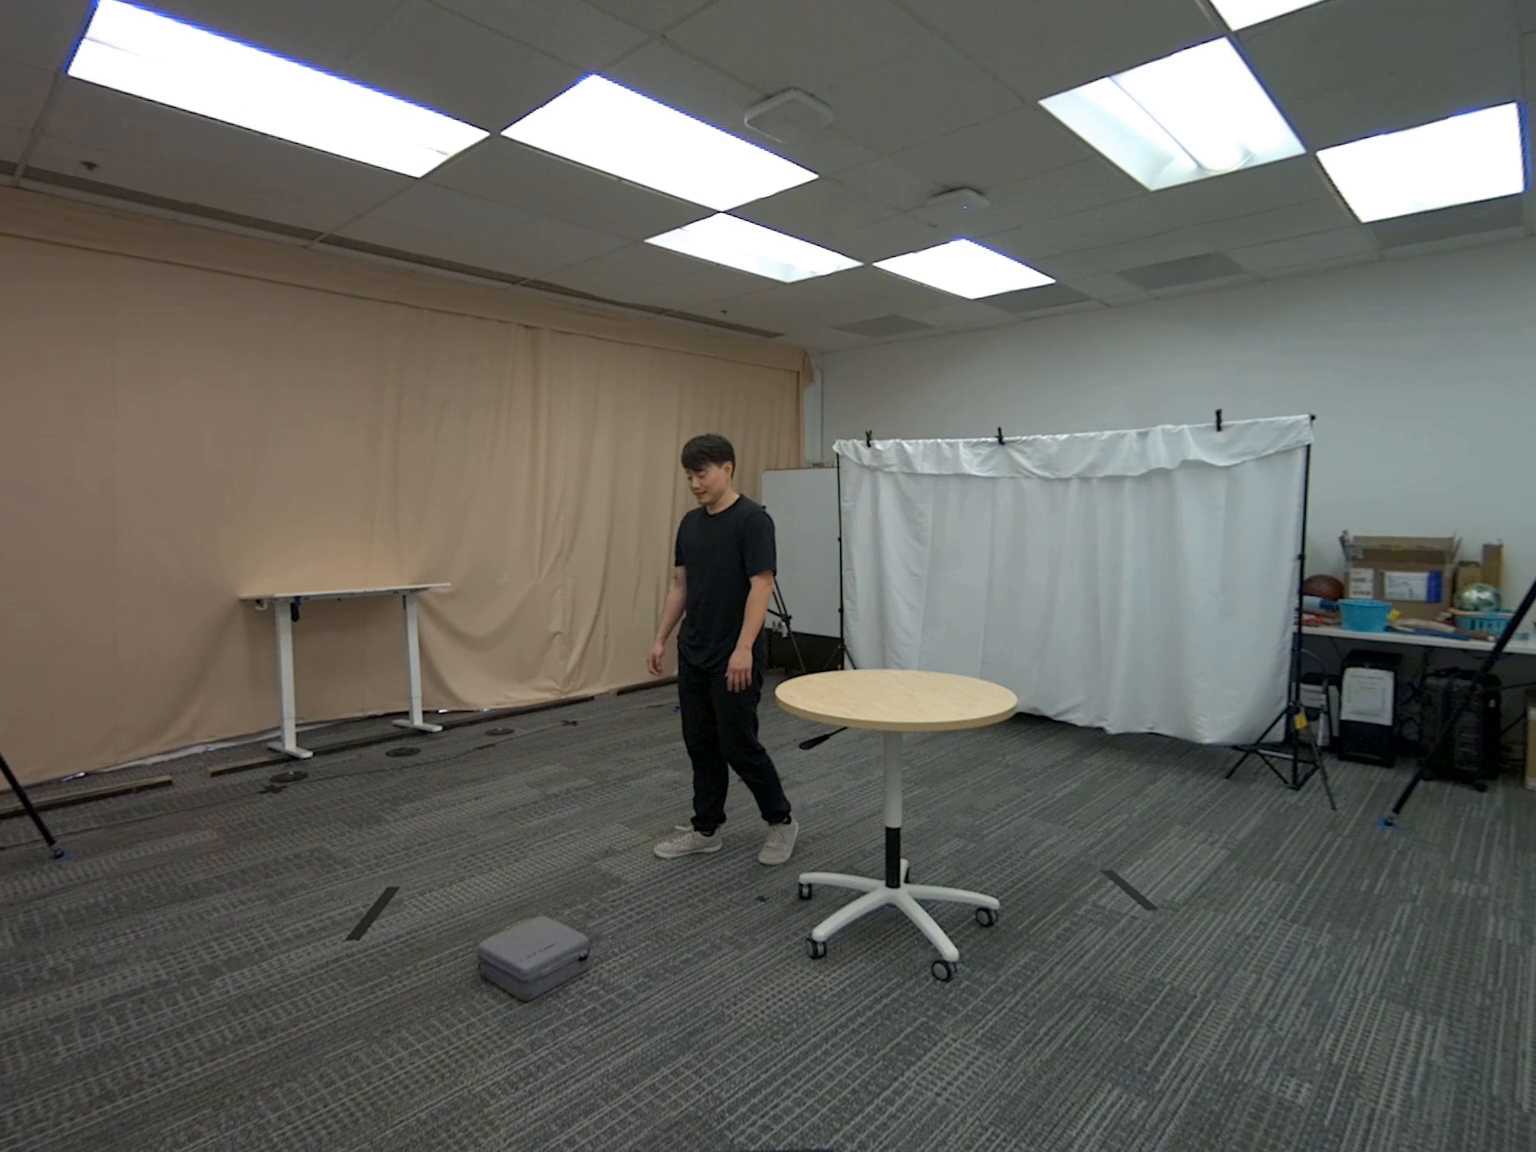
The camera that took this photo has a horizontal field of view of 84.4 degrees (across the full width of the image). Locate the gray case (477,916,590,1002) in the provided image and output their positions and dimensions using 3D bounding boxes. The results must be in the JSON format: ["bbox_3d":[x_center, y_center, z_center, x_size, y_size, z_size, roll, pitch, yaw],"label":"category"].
[{"bbox_3d":[-0.703,1.135,2.511,0.269,0.104,0.249,2,6,39],"label":"gray case"}]
